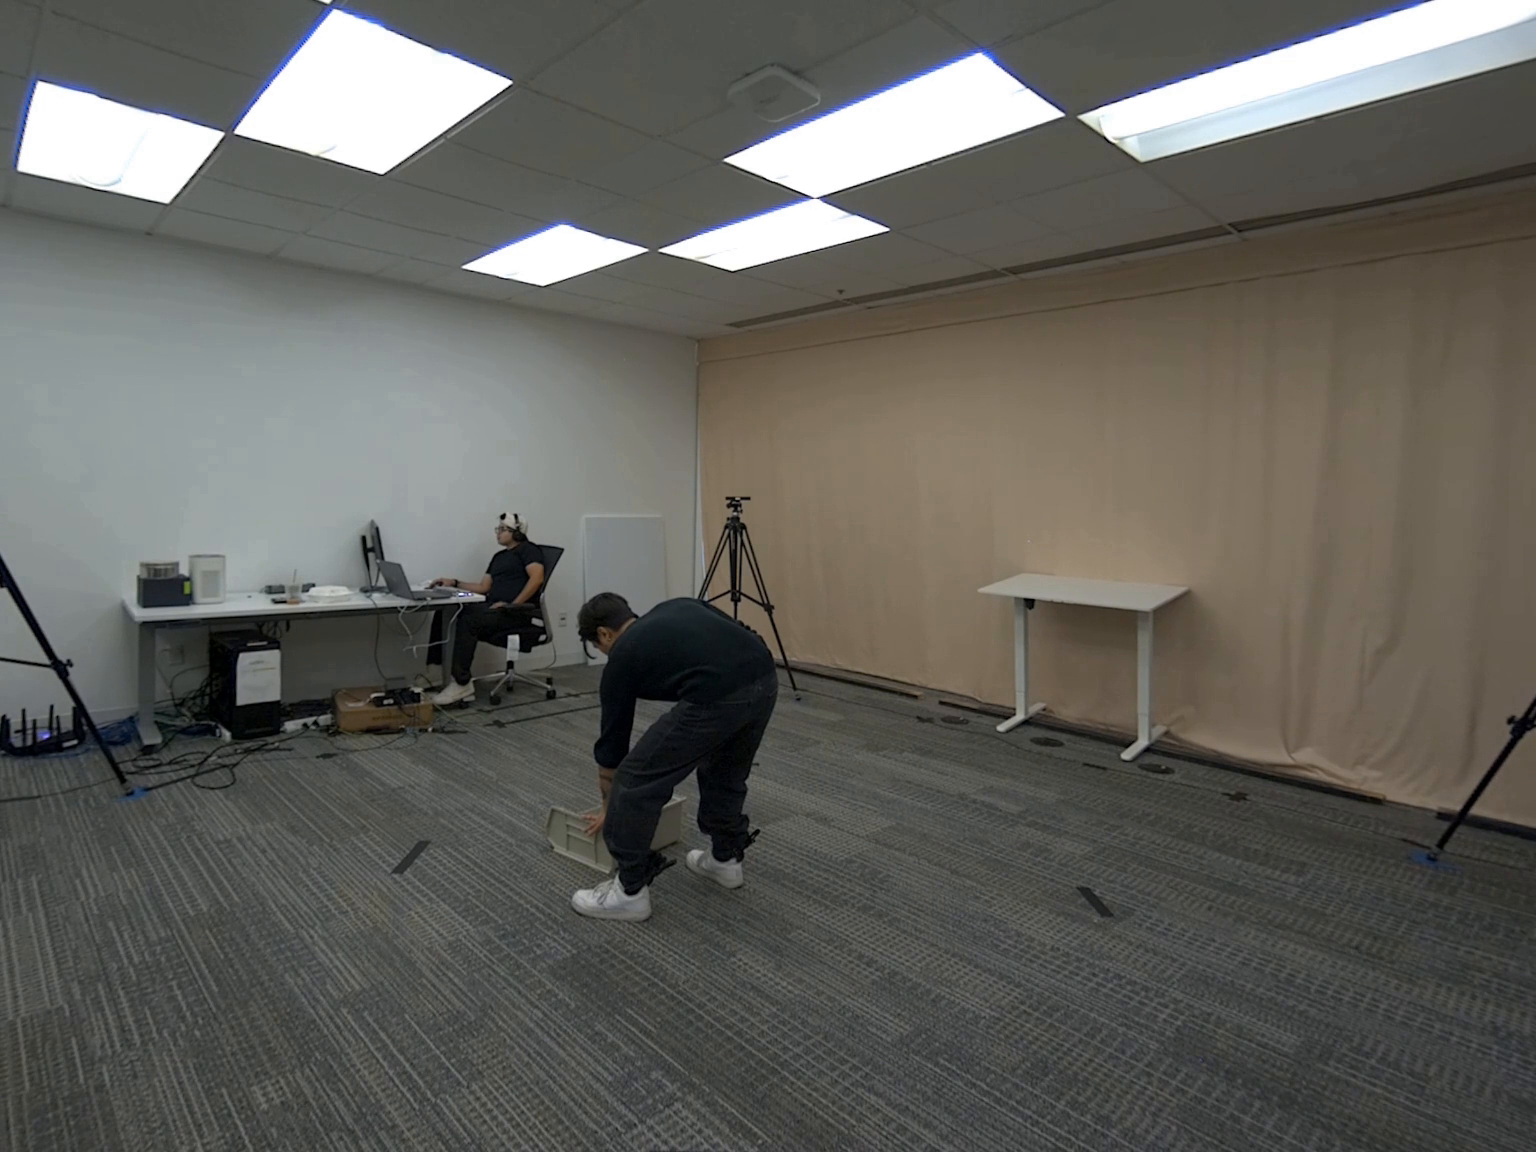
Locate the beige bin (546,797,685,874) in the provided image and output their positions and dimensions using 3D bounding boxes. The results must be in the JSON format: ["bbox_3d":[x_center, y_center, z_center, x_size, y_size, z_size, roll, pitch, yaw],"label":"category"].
[{"bbox_3d":[-0.614,0.987,3.363,0.387,0.188,0.413,6,6,37],"label":"beige bin"}]
